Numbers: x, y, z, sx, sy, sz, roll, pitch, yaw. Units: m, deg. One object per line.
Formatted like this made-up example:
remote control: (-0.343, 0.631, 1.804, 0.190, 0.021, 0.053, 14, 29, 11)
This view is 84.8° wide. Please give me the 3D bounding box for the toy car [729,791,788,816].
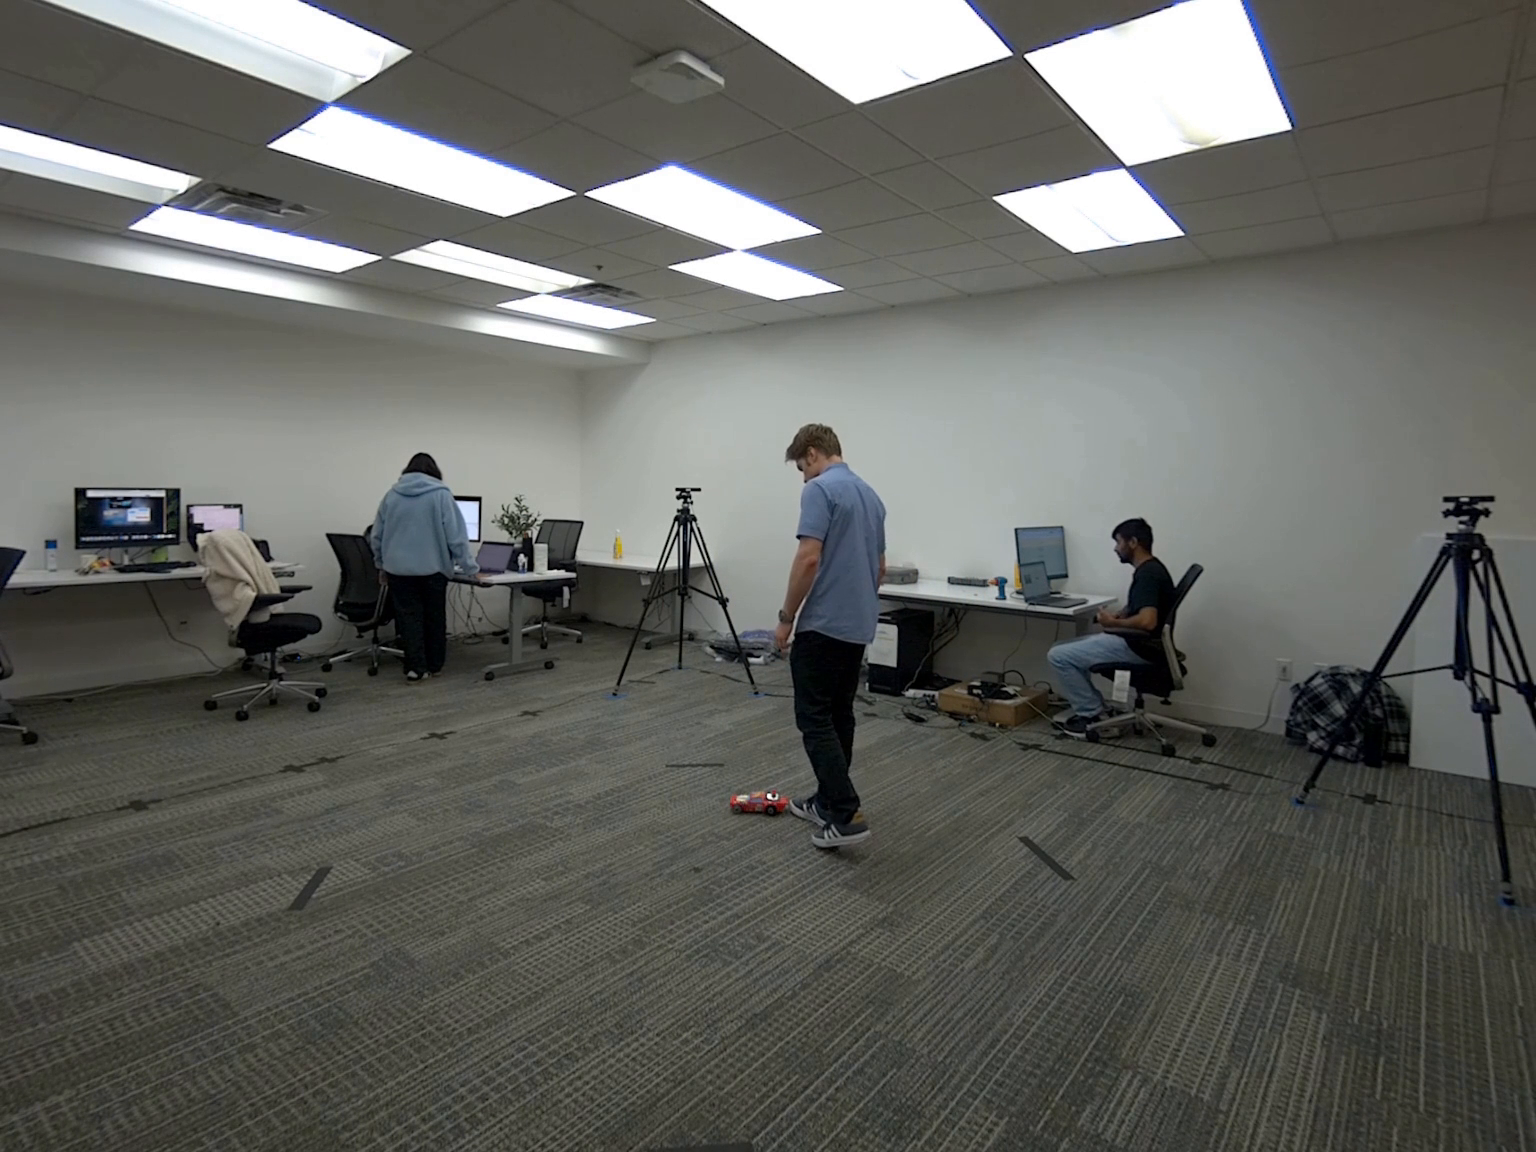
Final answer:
toy car: (-0.045, 0.985, 3.690, 0.256, 0.083, 0.130, -9, 3, 6)
